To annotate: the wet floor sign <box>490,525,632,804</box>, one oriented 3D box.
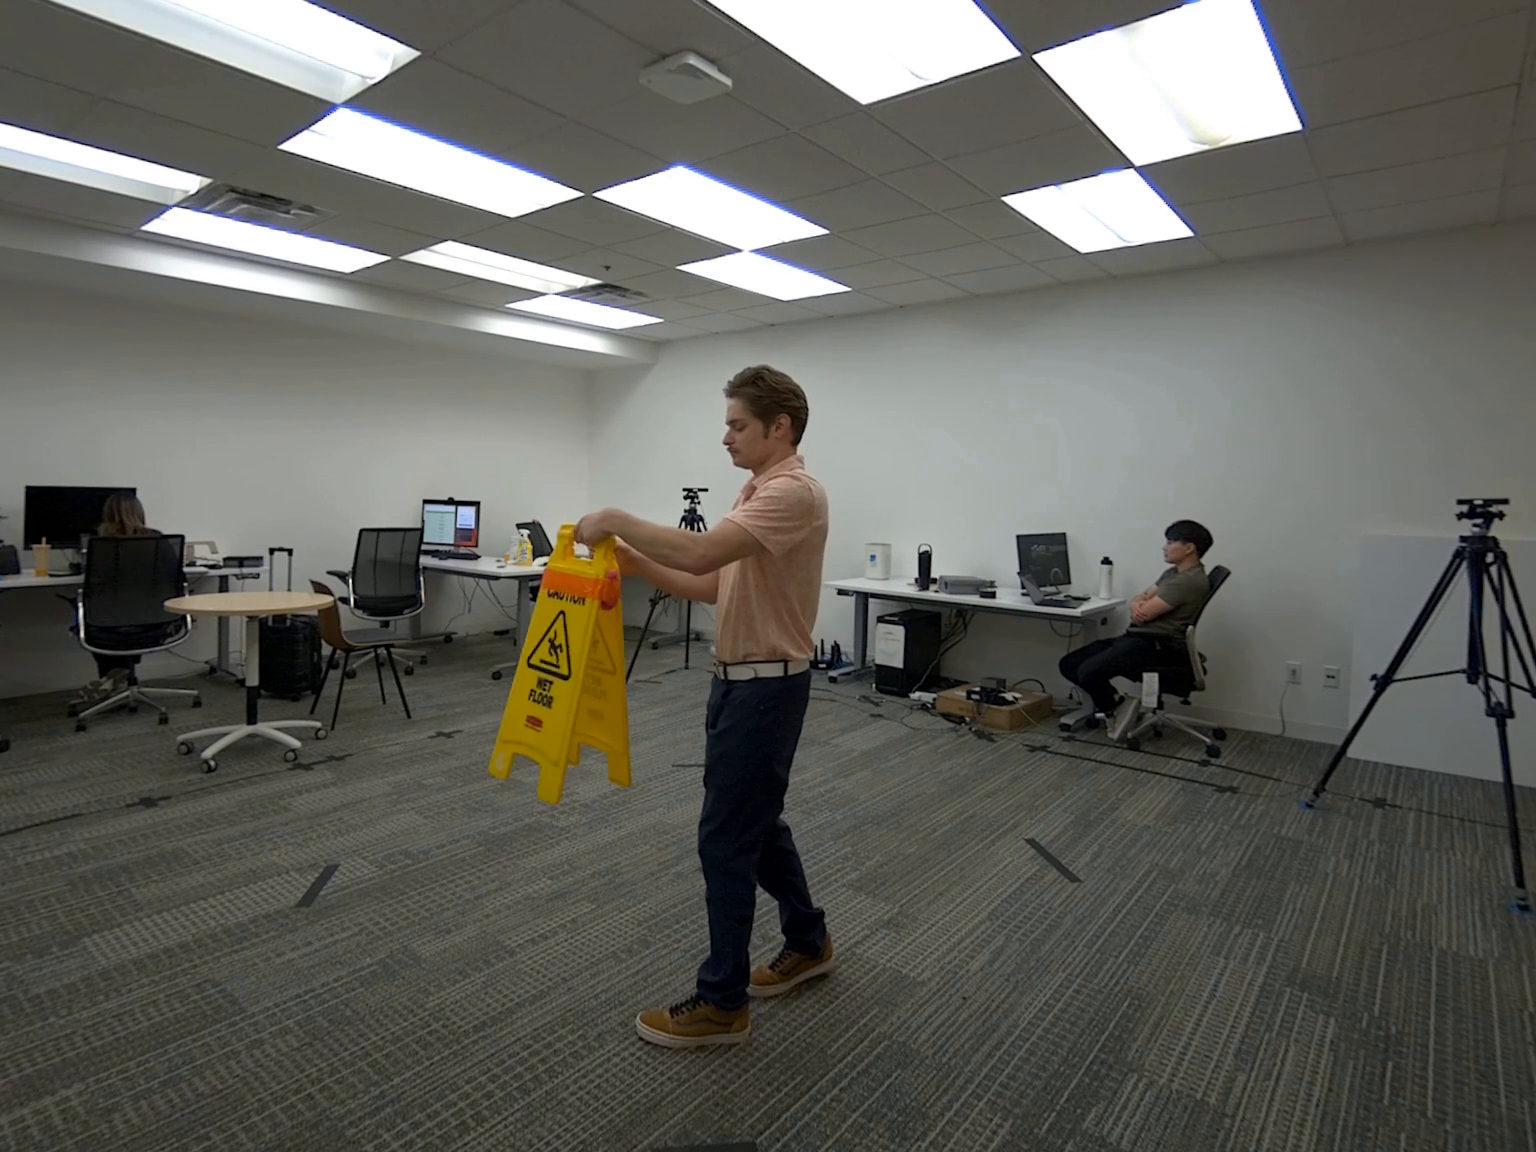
[{"bbox_3d":[-0.496,0.197,2.156,0.292,0.645,0.280,9,2,39],"label":"wet floor sign"}]
